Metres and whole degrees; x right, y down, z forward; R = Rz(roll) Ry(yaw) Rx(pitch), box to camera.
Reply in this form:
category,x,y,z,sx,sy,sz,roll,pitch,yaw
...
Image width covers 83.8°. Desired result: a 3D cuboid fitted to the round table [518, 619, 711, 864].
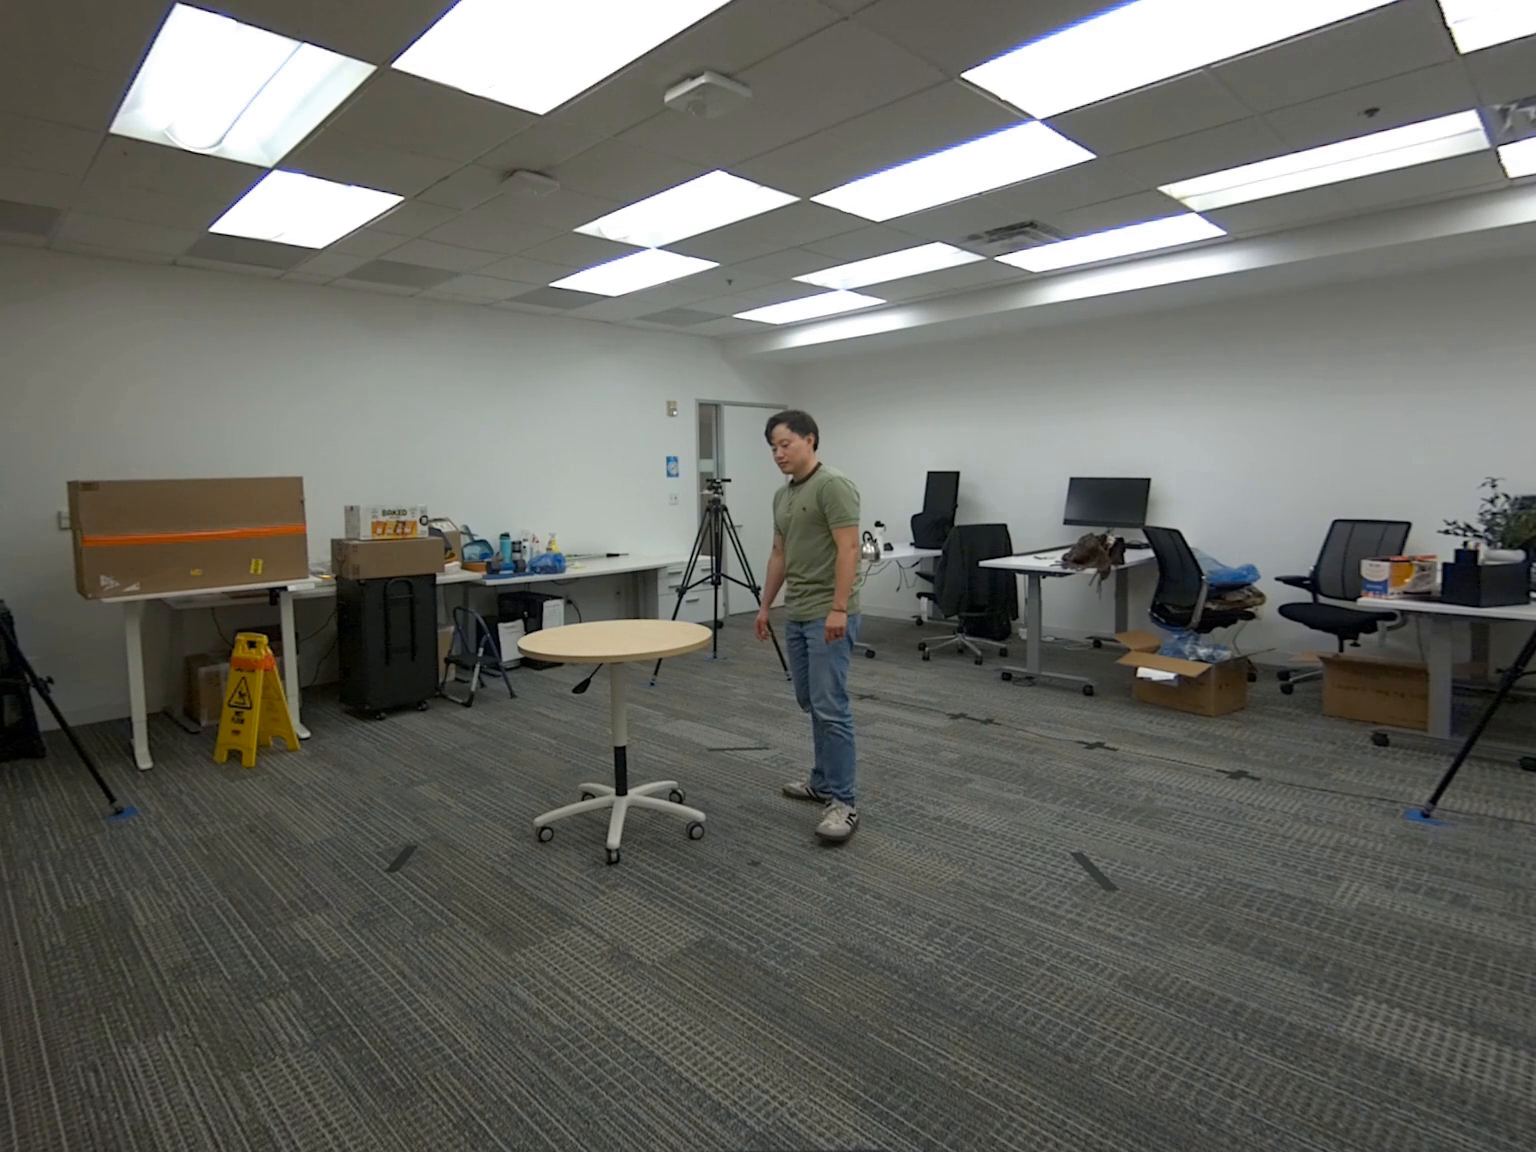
category,x,y,z,sx,sy,sz,roll,pitch,yaw
round table,-0.592,0.632,3.412,0.763,0.791,0.768,-2,5,-2
